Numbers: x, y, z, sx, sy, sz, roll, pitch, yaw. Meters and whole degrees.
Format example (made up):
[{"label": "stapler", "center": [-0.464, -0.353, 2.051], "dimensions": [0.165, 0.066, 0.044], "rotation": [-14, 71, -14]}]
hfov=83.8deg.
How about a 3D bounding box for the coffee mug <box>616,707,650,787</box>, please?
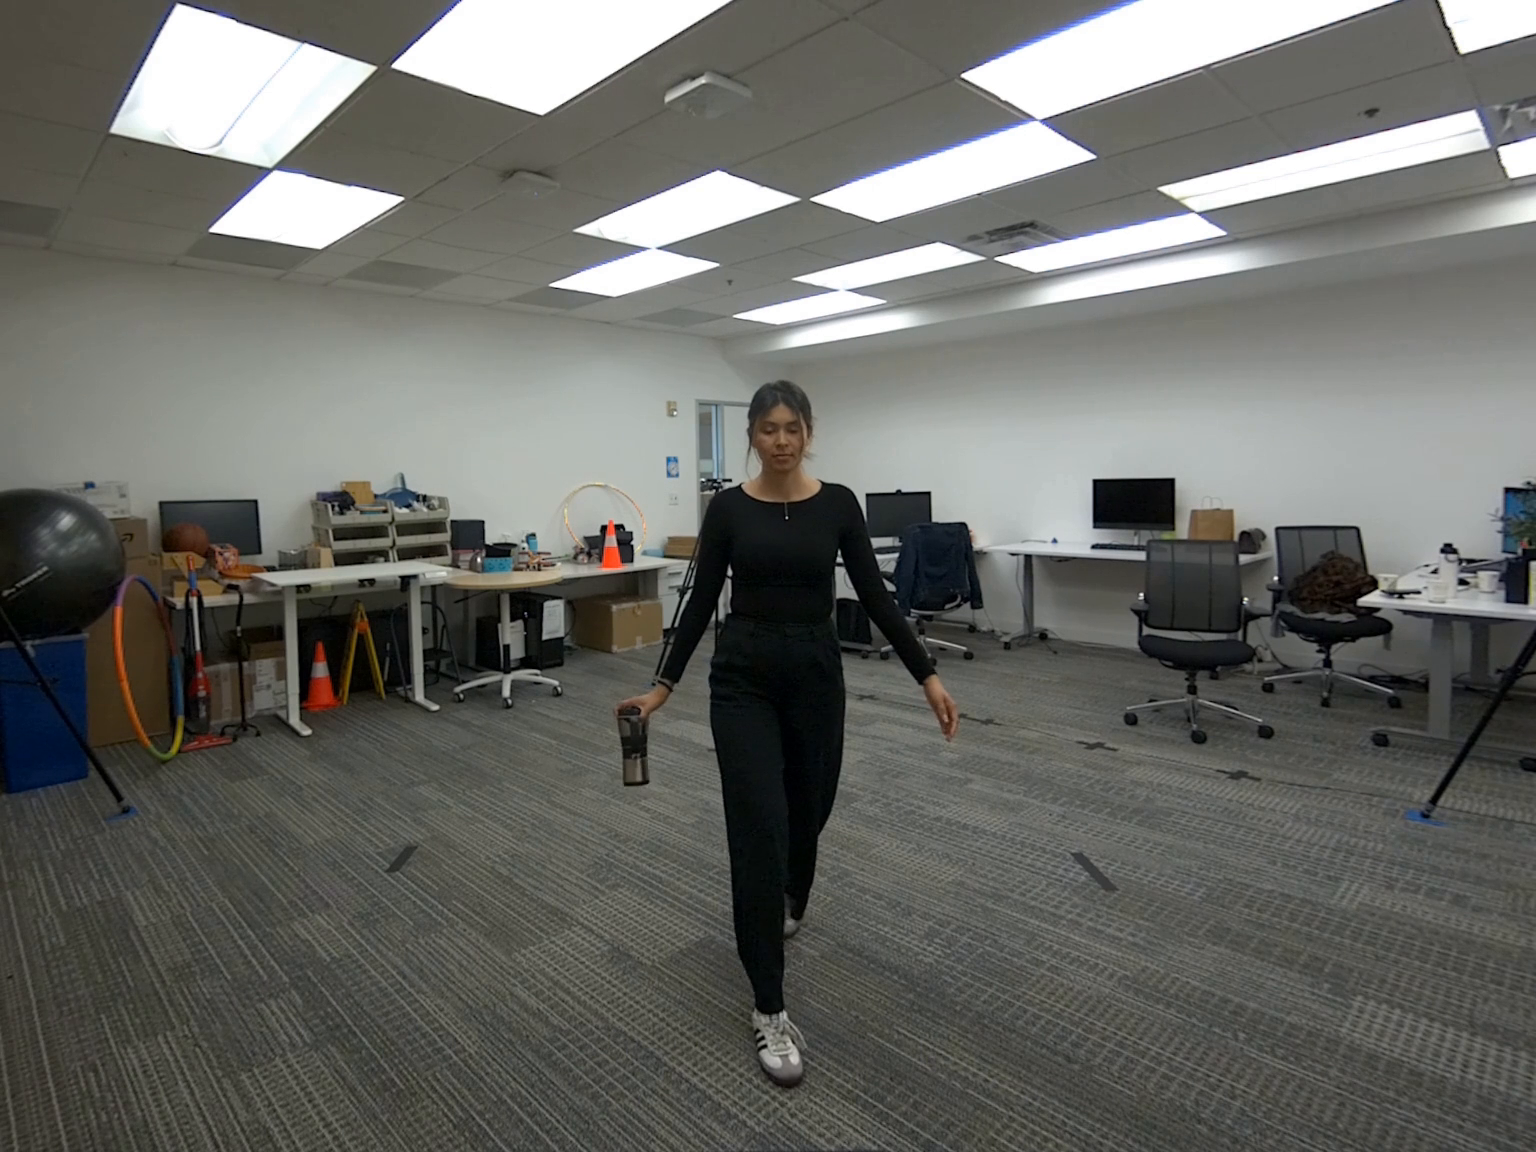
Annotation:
[{"label": "coffee mug", "center": [-0.369, 0.456, 2.342], "dimensions": [0.089, 0.205, 0.119], "rotation": [-4, -12, 13]}]
